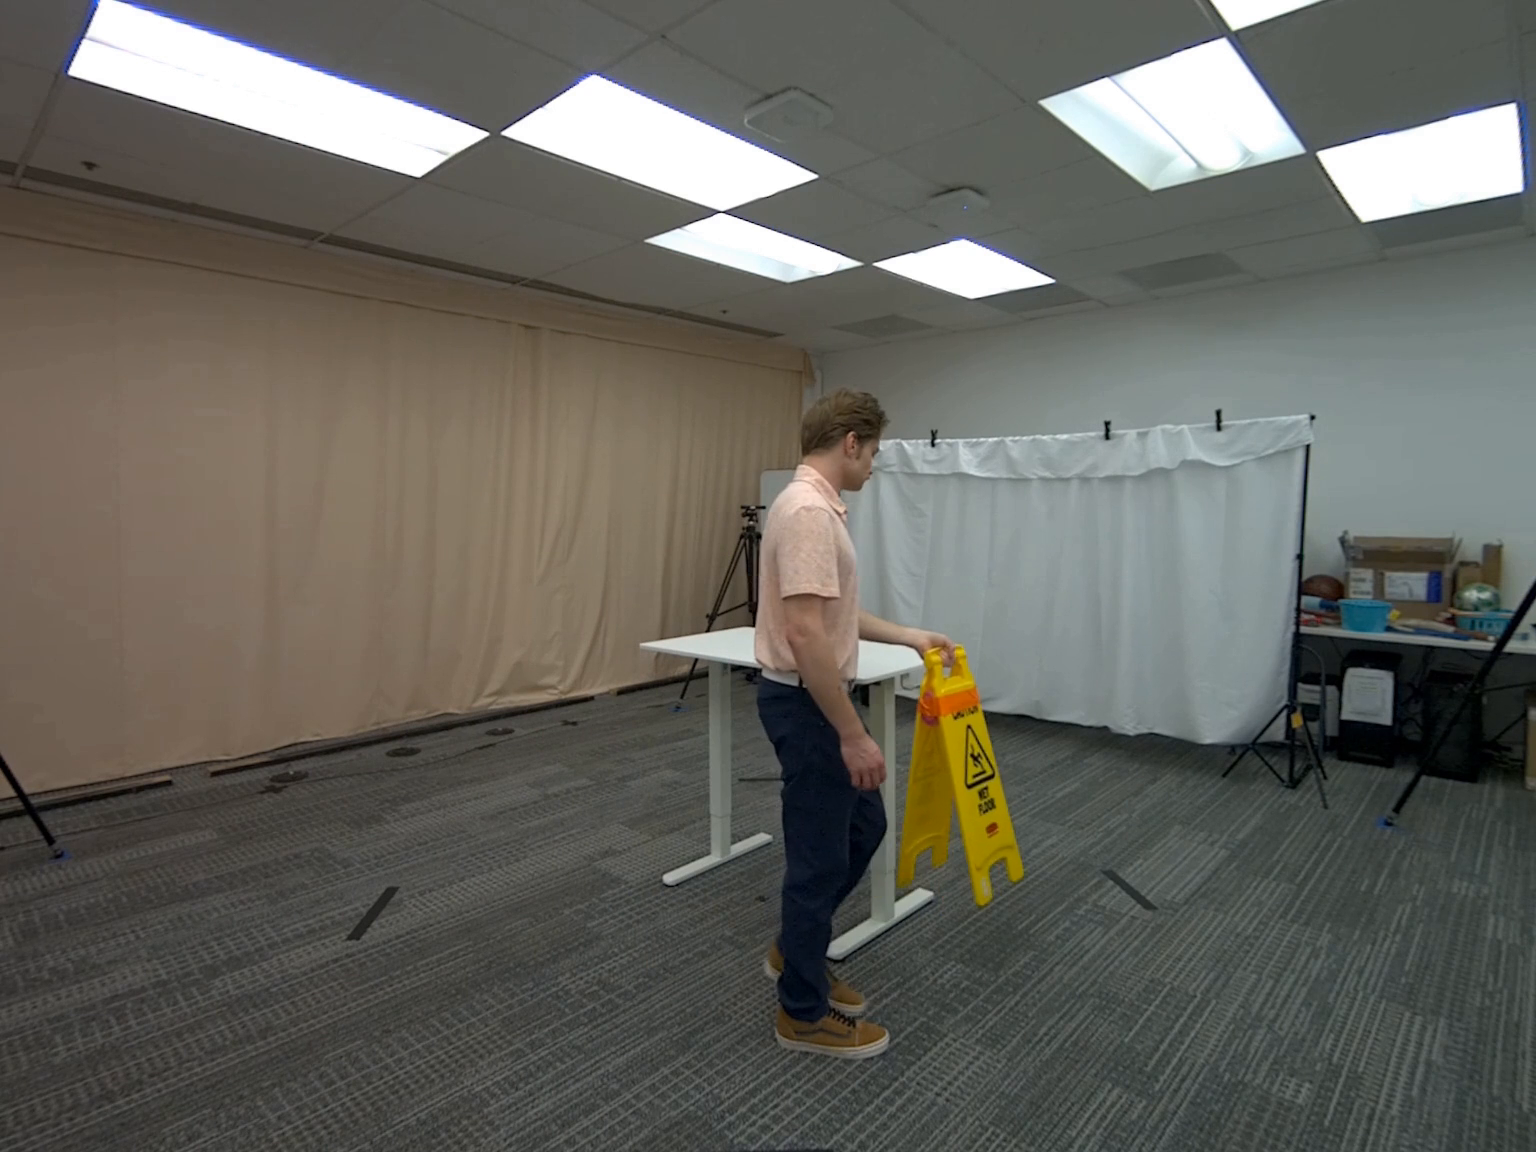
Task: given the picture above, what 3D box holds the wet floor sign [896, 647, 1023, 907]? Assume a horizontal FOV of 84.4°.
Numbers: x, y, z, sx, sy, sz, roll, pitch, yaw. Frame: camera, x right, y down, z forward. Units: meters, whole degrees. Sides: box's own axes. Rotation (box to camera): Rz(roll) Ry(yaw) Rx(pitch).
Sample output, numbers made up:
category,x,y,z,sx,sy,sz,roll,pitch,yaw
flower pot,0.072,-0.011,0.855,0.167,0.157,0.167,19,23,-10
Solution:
category,x,y,z,sx,sy,sz,roll,pitch,yaw
wet floor sign,0.525,0.532,2.348,0.298,0.647,0.273,-5,-2,41
